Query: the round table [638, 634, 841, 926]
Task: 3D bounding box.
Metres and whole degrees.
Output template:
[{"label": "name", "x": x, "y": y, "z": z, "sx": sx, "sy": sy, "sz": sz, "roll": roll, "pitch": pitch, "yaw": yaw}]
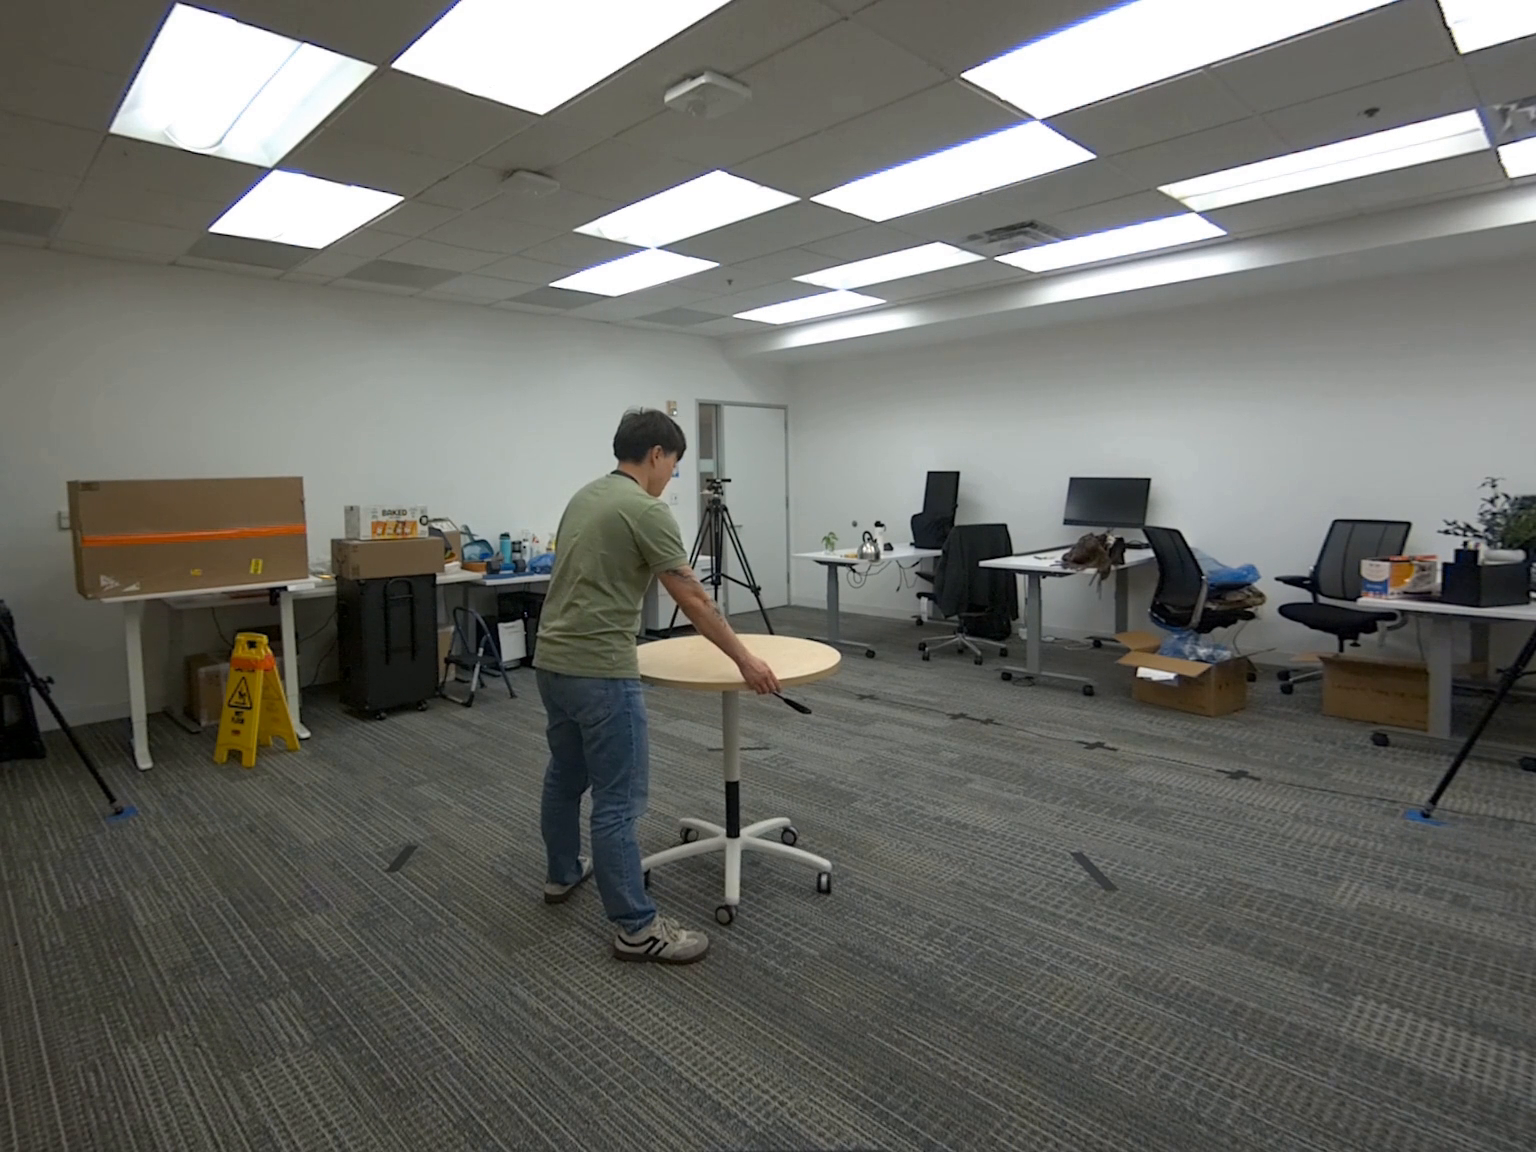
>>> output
[{"label": "round table", "x": -0.119, "y": 0.668, "z": 2.992, "sx": 0.763, "sy": 0.791, "sz": 0.768, "roll": -1, "pitch": 5, "yaw": -2}]
